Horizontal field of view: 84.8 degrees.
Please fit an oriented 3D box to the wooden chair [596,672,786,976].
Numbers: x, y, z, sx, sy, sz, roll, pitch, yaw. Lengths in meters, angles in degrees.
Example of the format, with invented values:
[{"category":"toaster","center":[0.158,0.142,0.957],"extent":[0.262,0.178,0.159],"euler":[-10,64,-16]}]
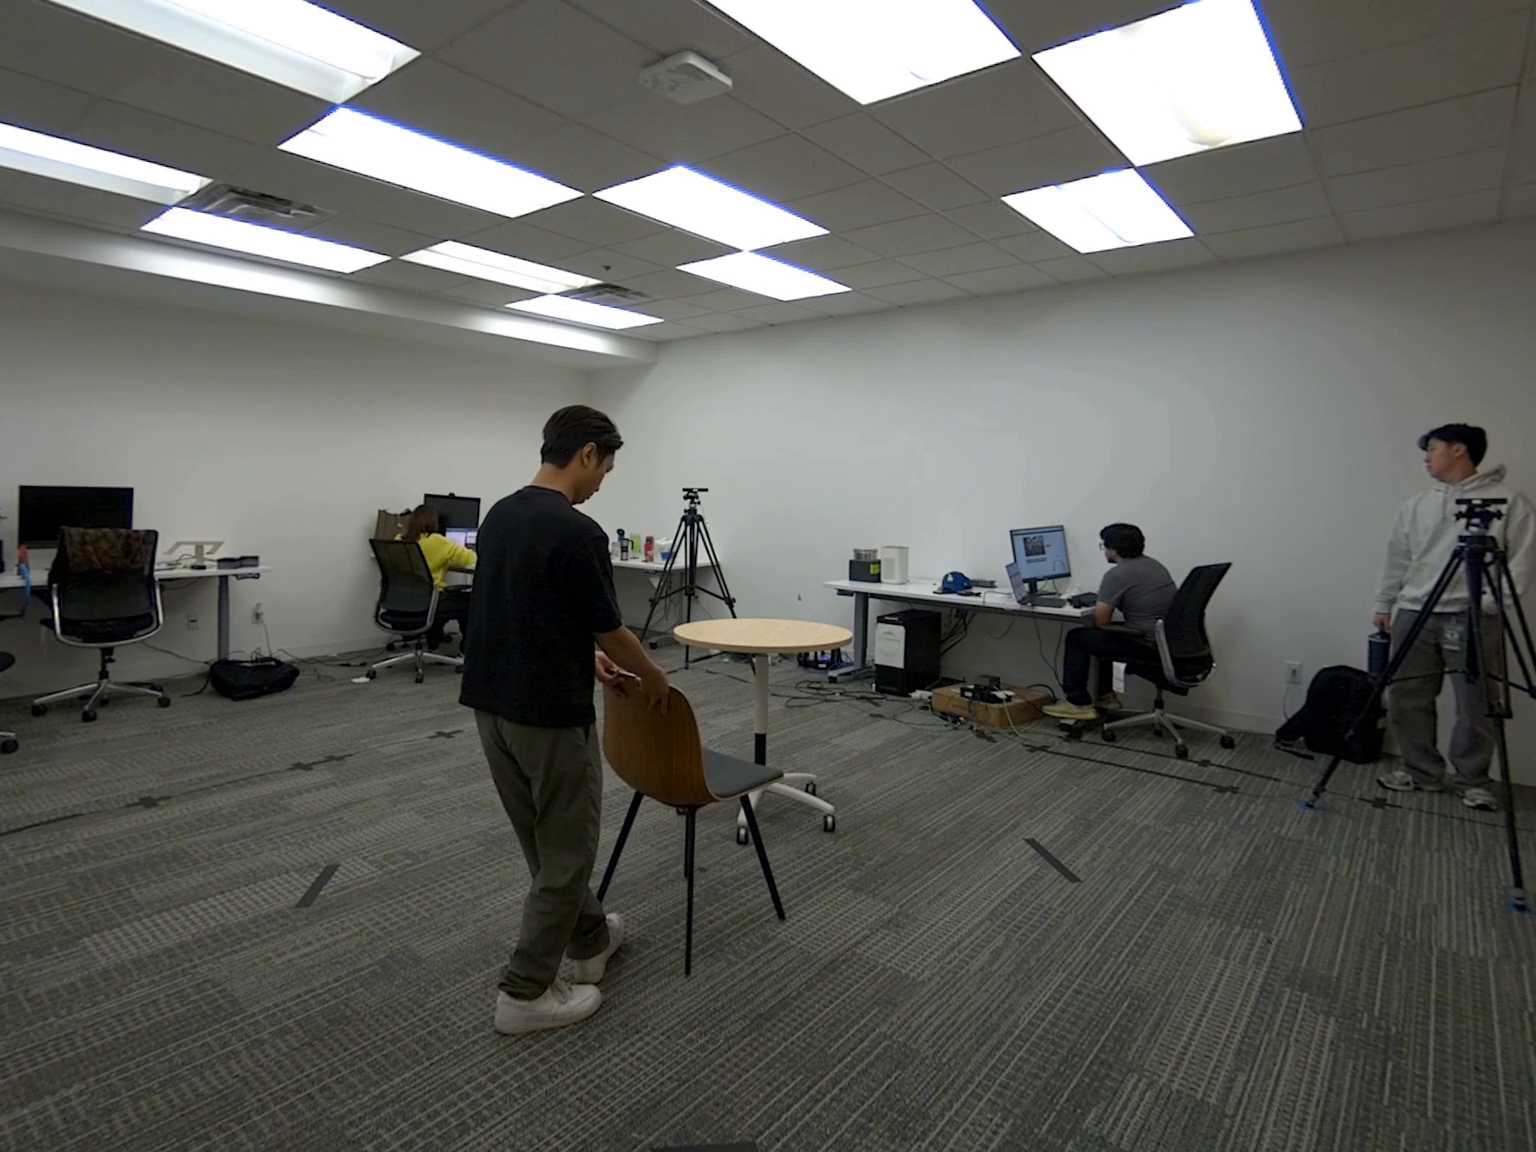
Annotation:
[{"category":"wooden chair","center":[-0.254,0.679,2.716],"extent":[0.494,0.872,0.509],"euler":[4,8,41]}]
